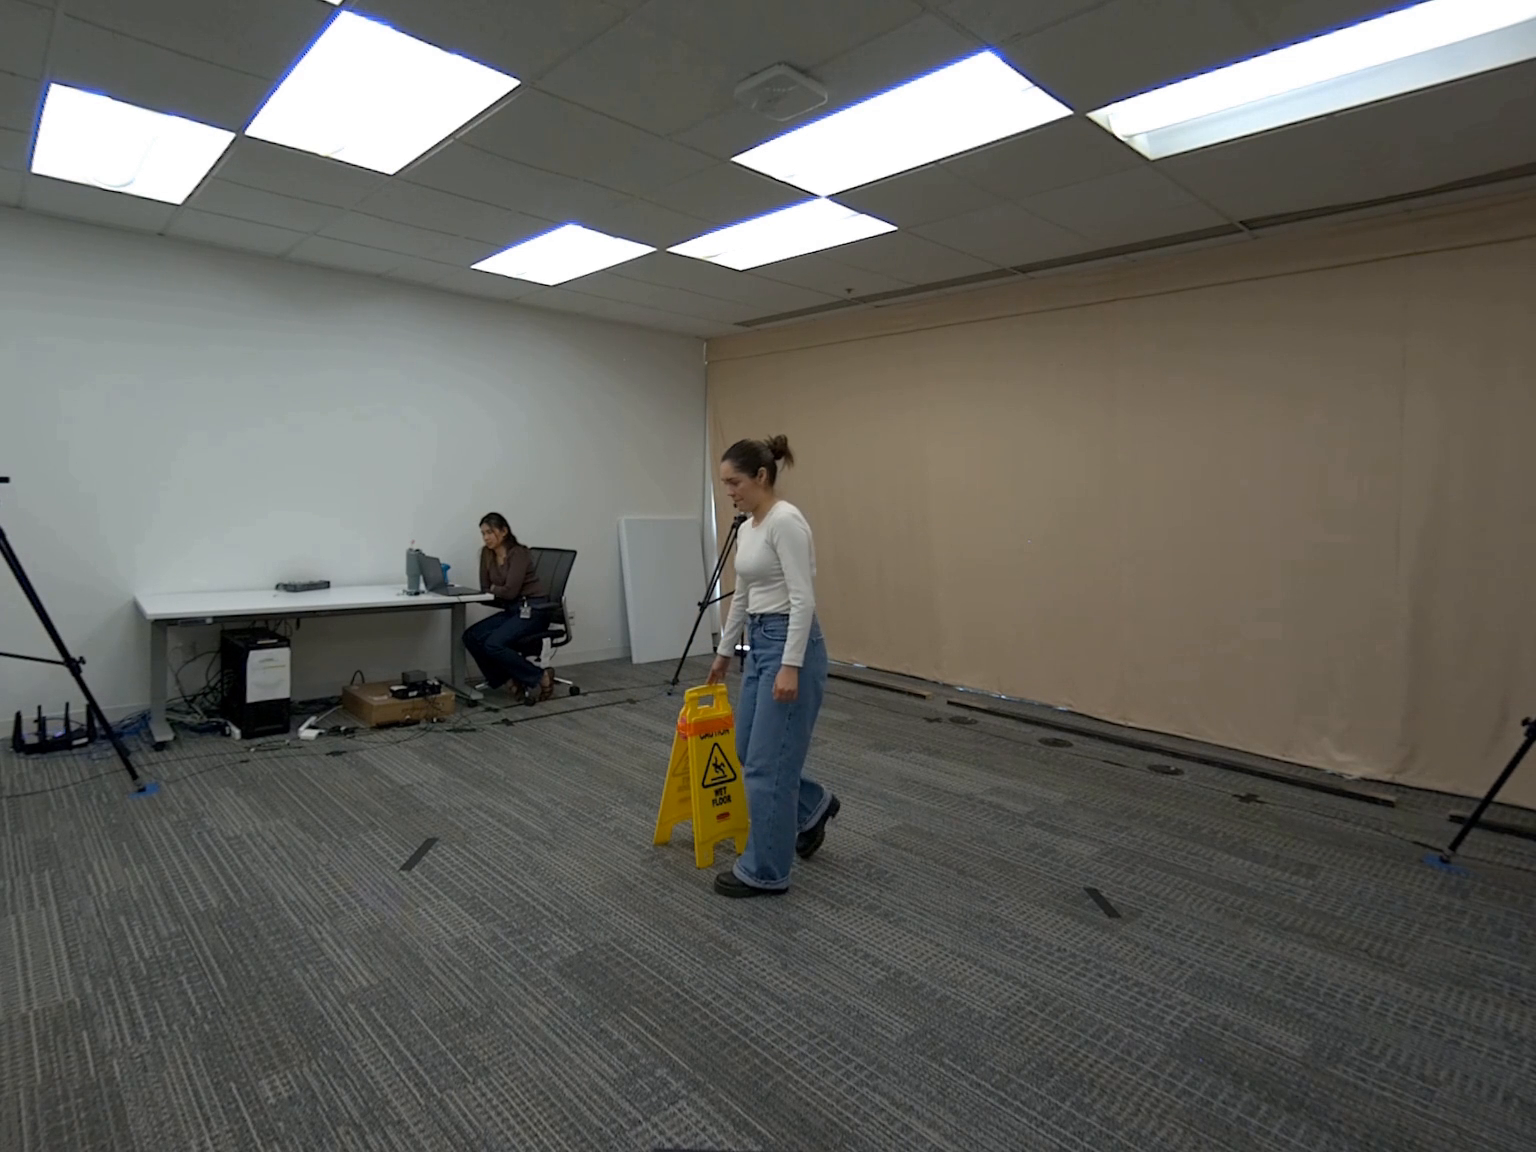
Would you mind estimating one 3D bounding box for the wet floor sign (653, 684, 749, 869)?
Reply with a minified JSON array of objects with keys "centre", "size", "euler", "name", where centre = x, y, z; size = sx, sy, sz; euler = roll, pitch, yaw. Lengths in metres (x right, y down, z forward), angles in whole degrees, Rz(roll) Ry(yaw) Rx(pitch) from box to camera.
[{"centre":[-0.260,0.755,3.324],"size":[0.276,0.645,0.297],"euler":[-1,3,-43],"name":"wet floor sign"}]
